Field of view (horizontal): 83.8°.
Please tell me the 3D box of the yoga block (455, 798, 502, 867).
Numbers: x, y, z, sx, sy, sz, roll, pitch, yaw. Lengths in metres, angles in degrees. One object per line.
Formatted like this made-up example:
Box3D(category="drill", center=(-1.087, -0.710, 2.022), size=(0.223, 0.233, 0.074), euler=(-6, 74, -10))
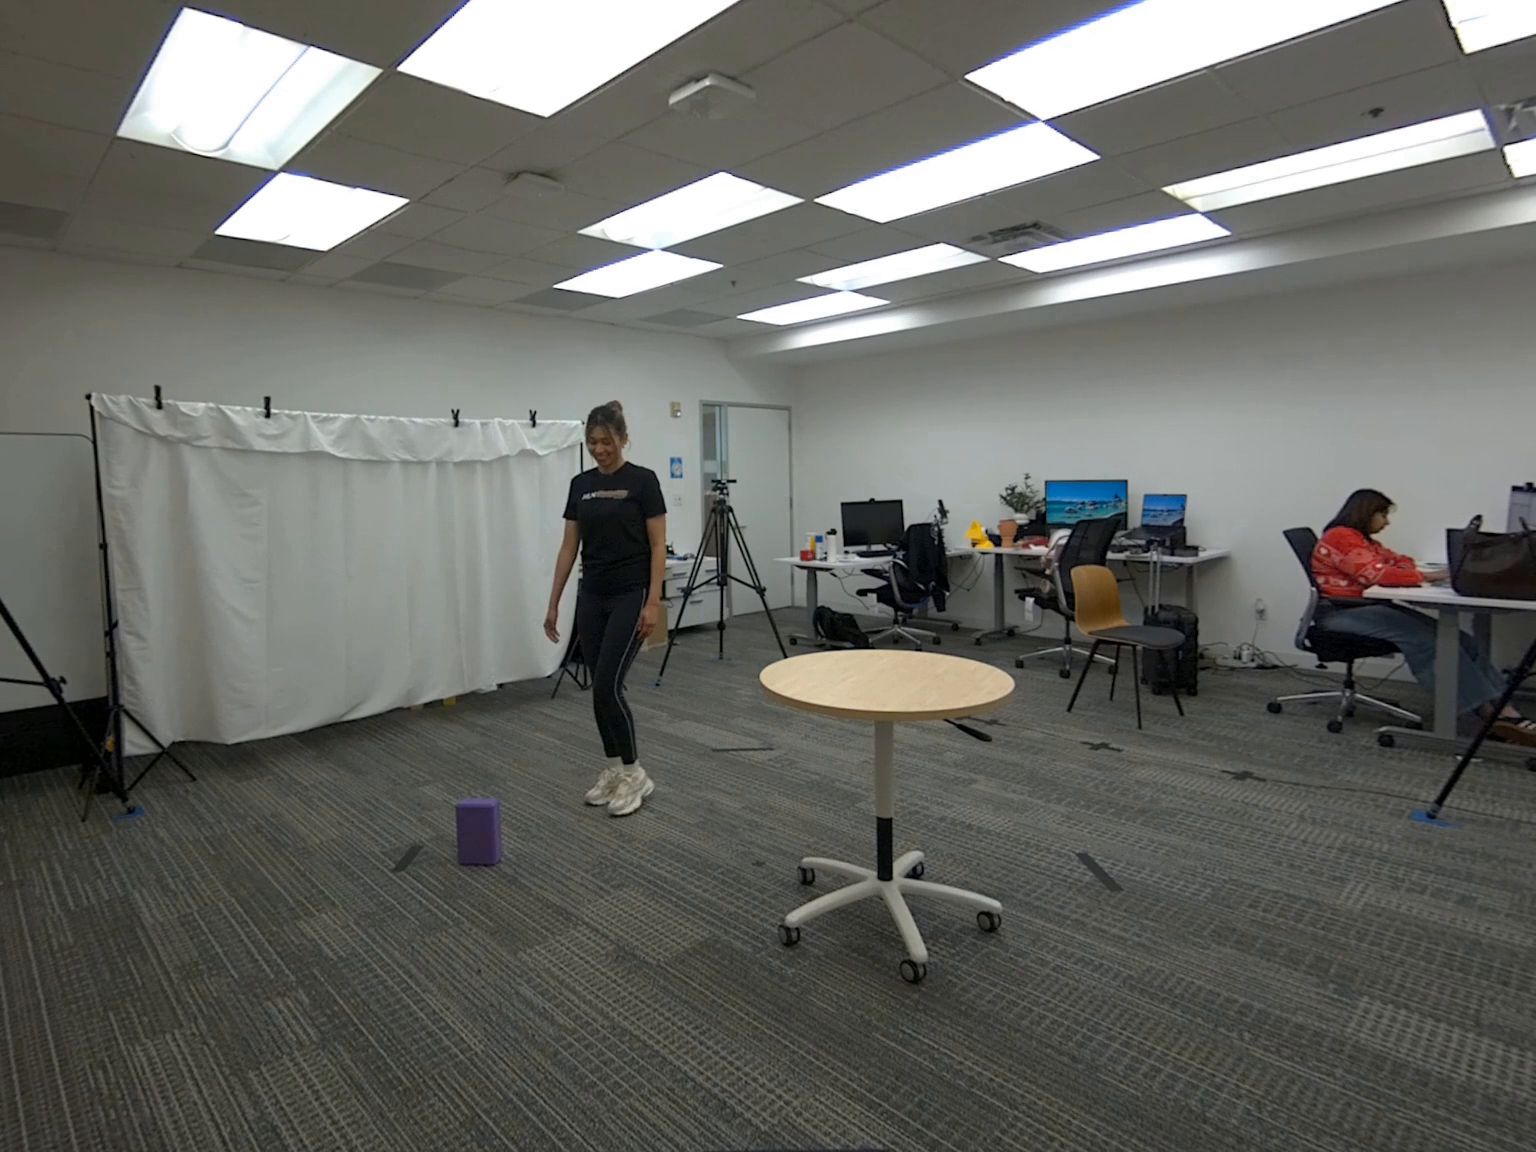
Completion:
Box3D(category="yoga block", center=(-1.078, 0.952, 3.169), size=(0.150, 0.229, 0.076), euler=(-5, 3, 7))
